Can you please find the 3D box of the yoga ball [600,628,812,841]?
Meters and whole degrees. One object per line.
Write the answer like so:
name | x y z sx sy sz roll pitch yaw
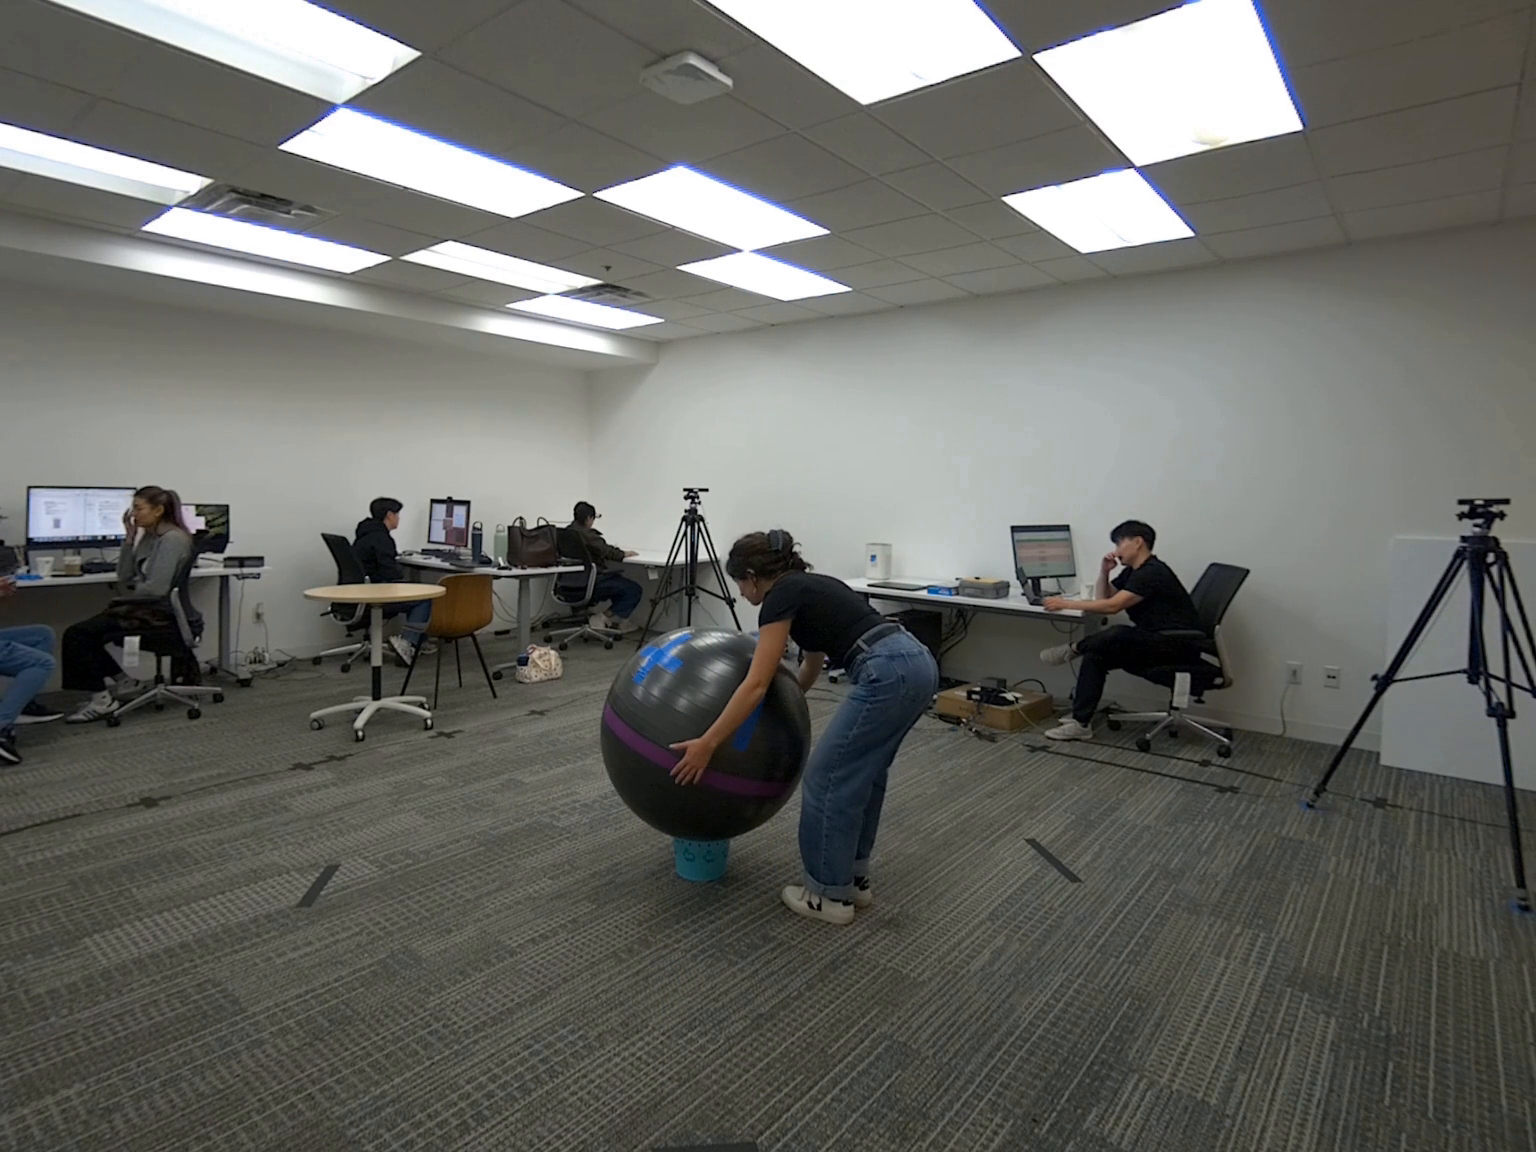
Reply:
yoga ball | -0.229 0.572 3.088 0.757 0.756 0.762 1 4 -2
